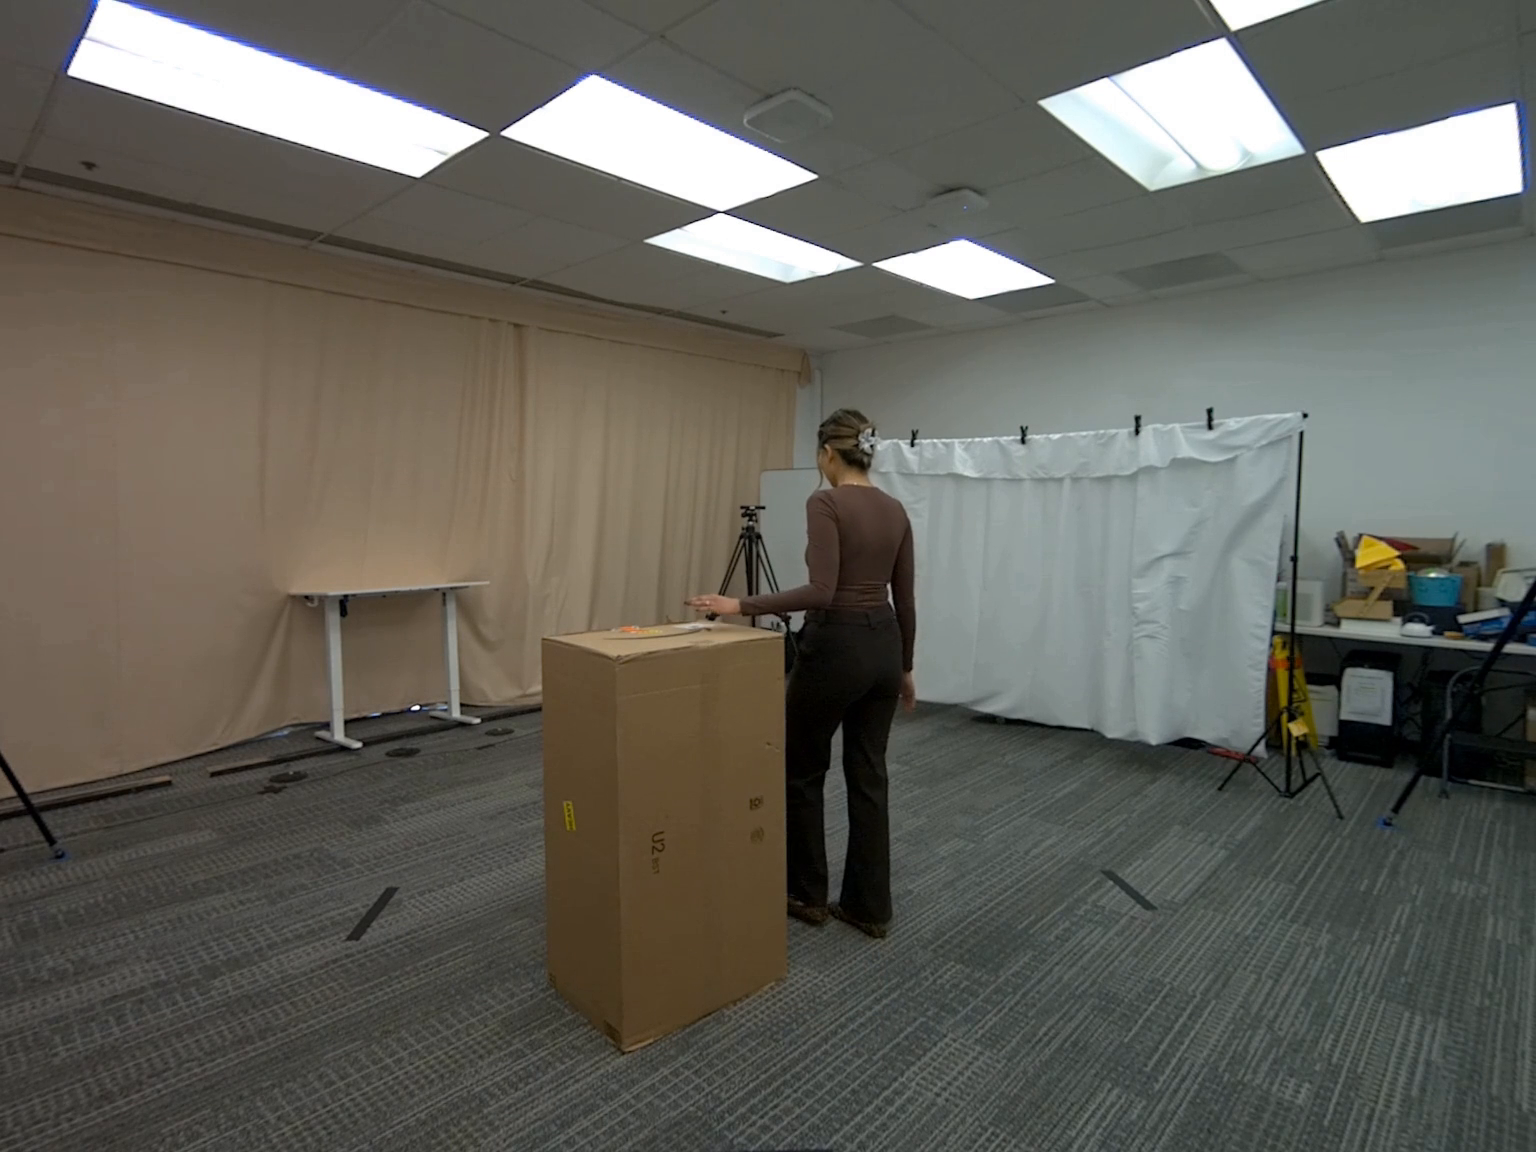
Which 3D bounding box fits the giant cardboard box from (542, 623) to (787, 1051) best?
[{"bbox_3d":[-0.300,0.679,2.451,0.566,1.025,0.461,-3,3,-39],"label":"giant cardboard box"}]
